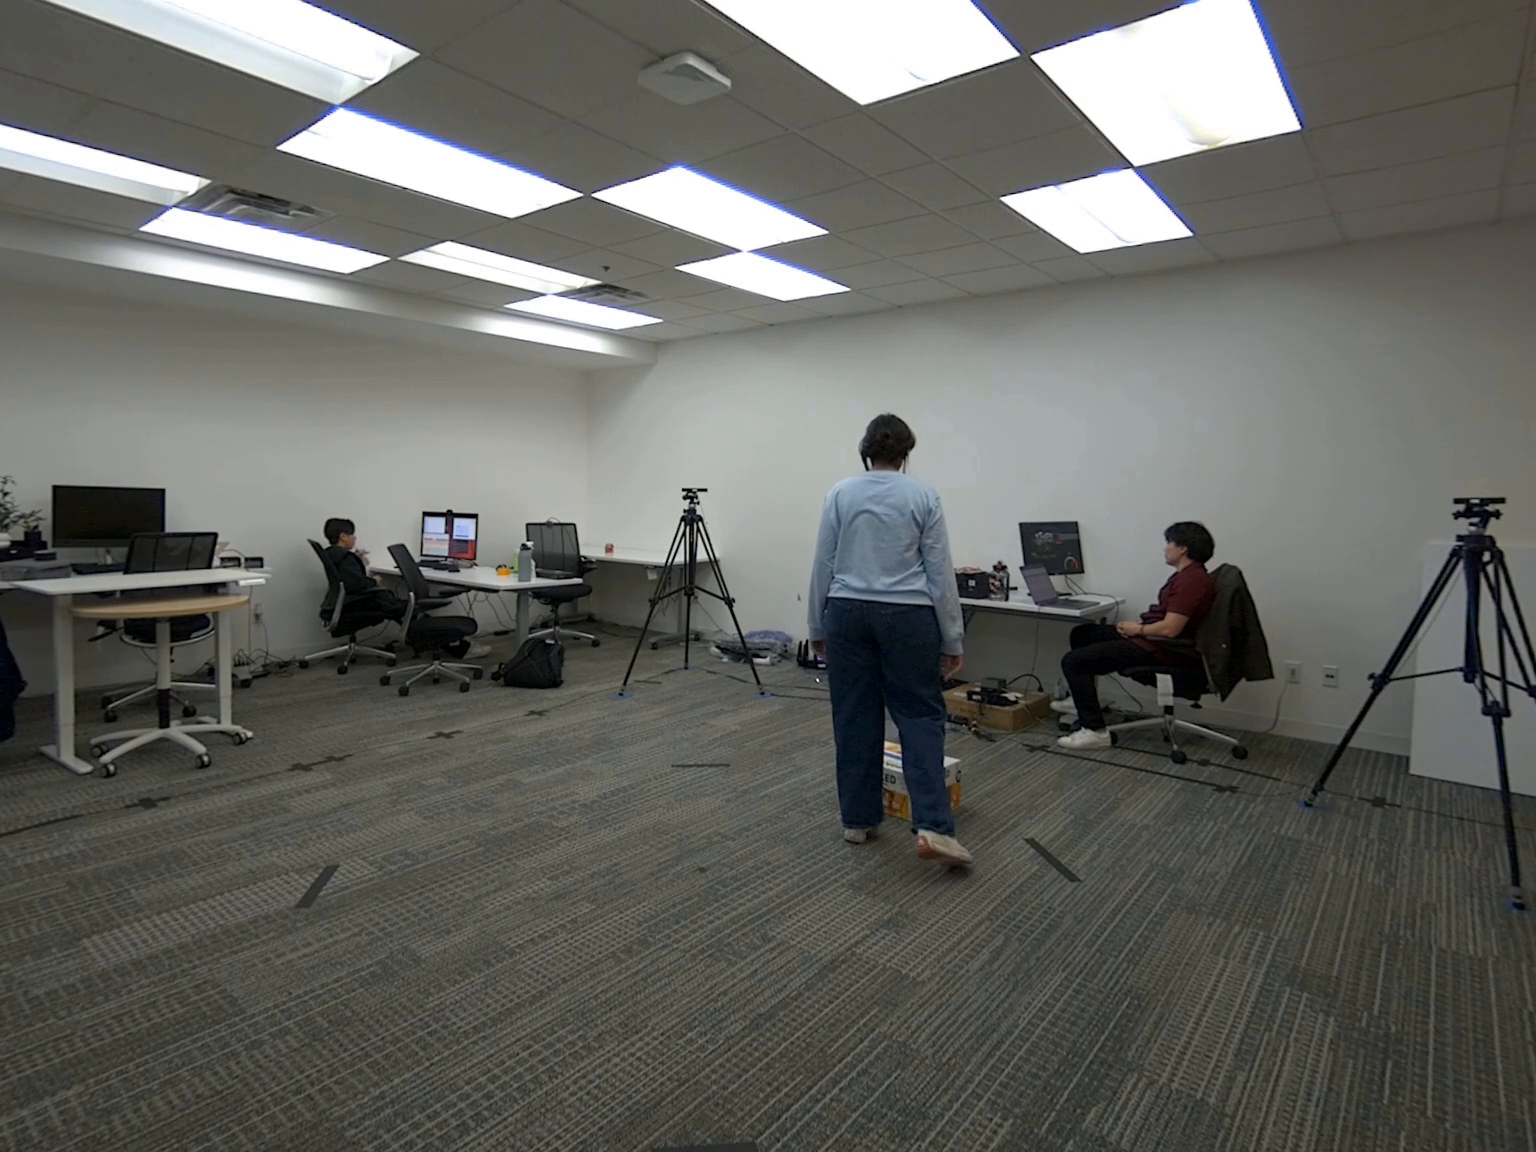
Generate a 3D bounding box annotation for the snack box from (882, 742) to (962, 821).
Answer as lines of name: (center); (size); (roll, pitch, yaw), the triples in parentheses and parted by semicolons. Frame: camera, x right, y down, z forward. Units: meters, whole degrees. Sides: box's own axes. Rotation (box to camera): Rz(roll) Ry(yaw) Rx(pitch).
snack box: (0.594, 0.913, 3.827); (0.419, 0.205, 0.330); (6, 6, 40)
